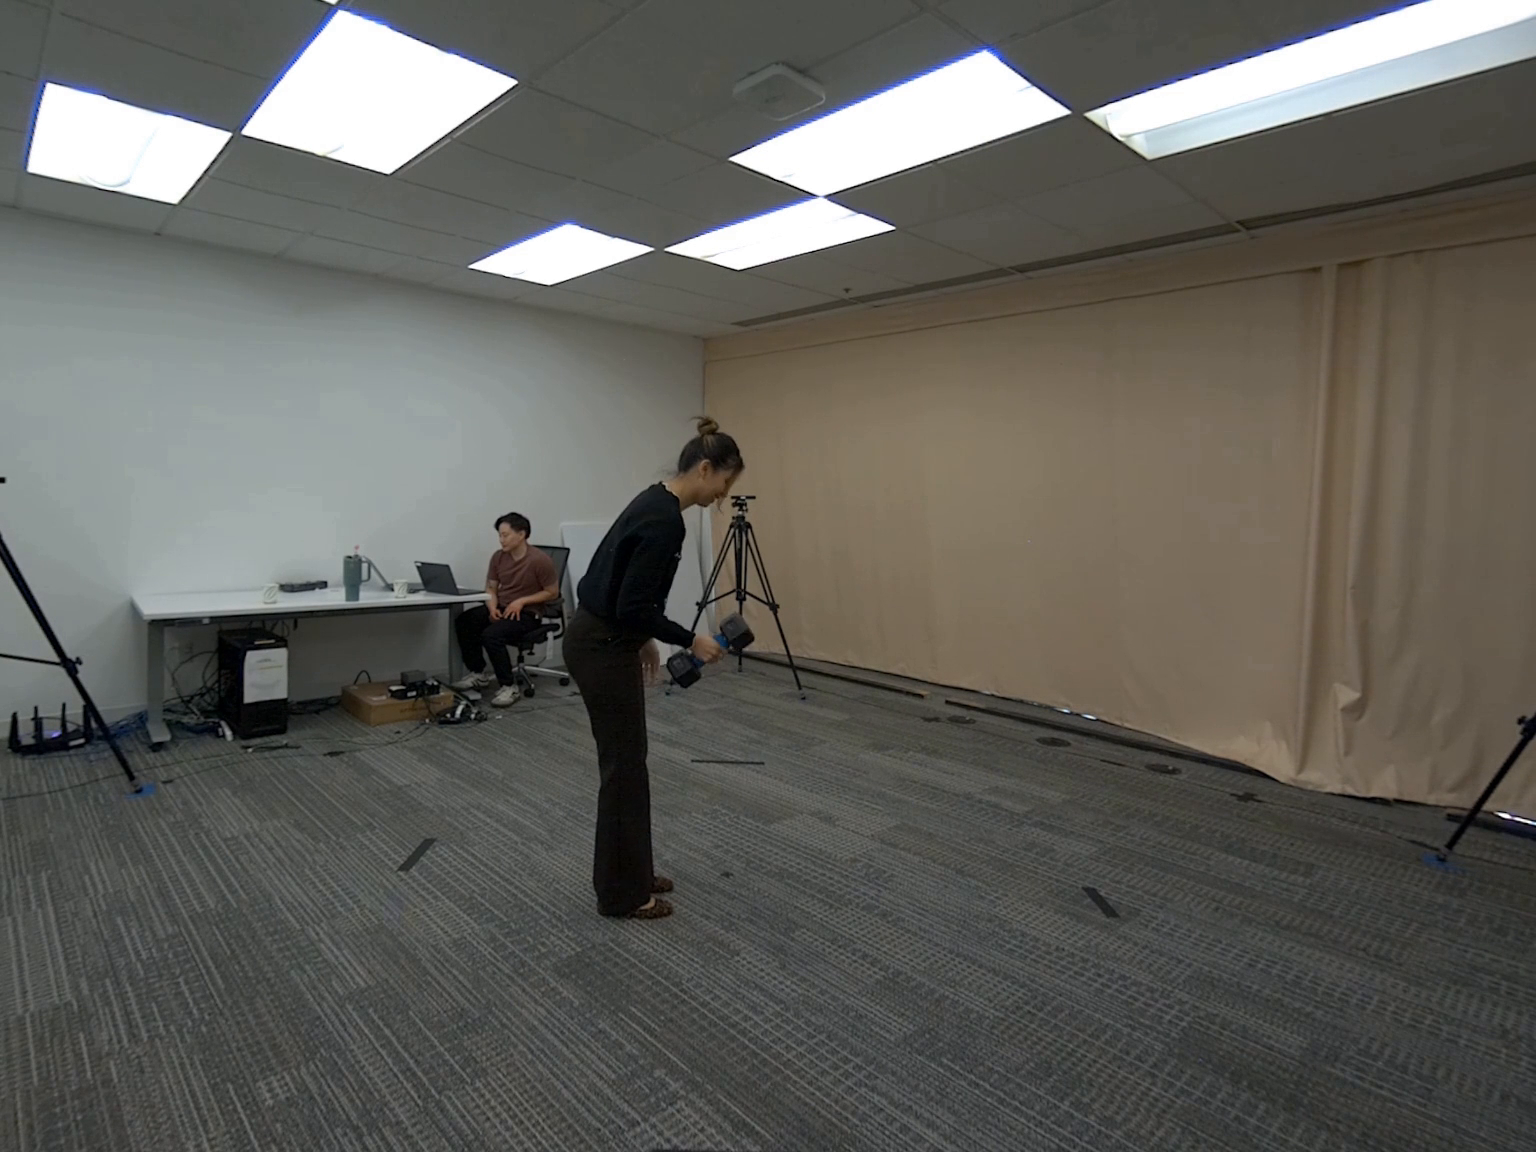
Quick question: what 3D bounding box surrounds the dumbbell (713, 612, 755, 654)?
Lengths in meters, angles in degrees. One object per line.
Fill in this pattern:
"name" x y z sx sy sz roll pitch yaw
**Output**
"dumbbell" -0.198 0.240 2.745 0.294 0.108 0.124 -35 8 2
